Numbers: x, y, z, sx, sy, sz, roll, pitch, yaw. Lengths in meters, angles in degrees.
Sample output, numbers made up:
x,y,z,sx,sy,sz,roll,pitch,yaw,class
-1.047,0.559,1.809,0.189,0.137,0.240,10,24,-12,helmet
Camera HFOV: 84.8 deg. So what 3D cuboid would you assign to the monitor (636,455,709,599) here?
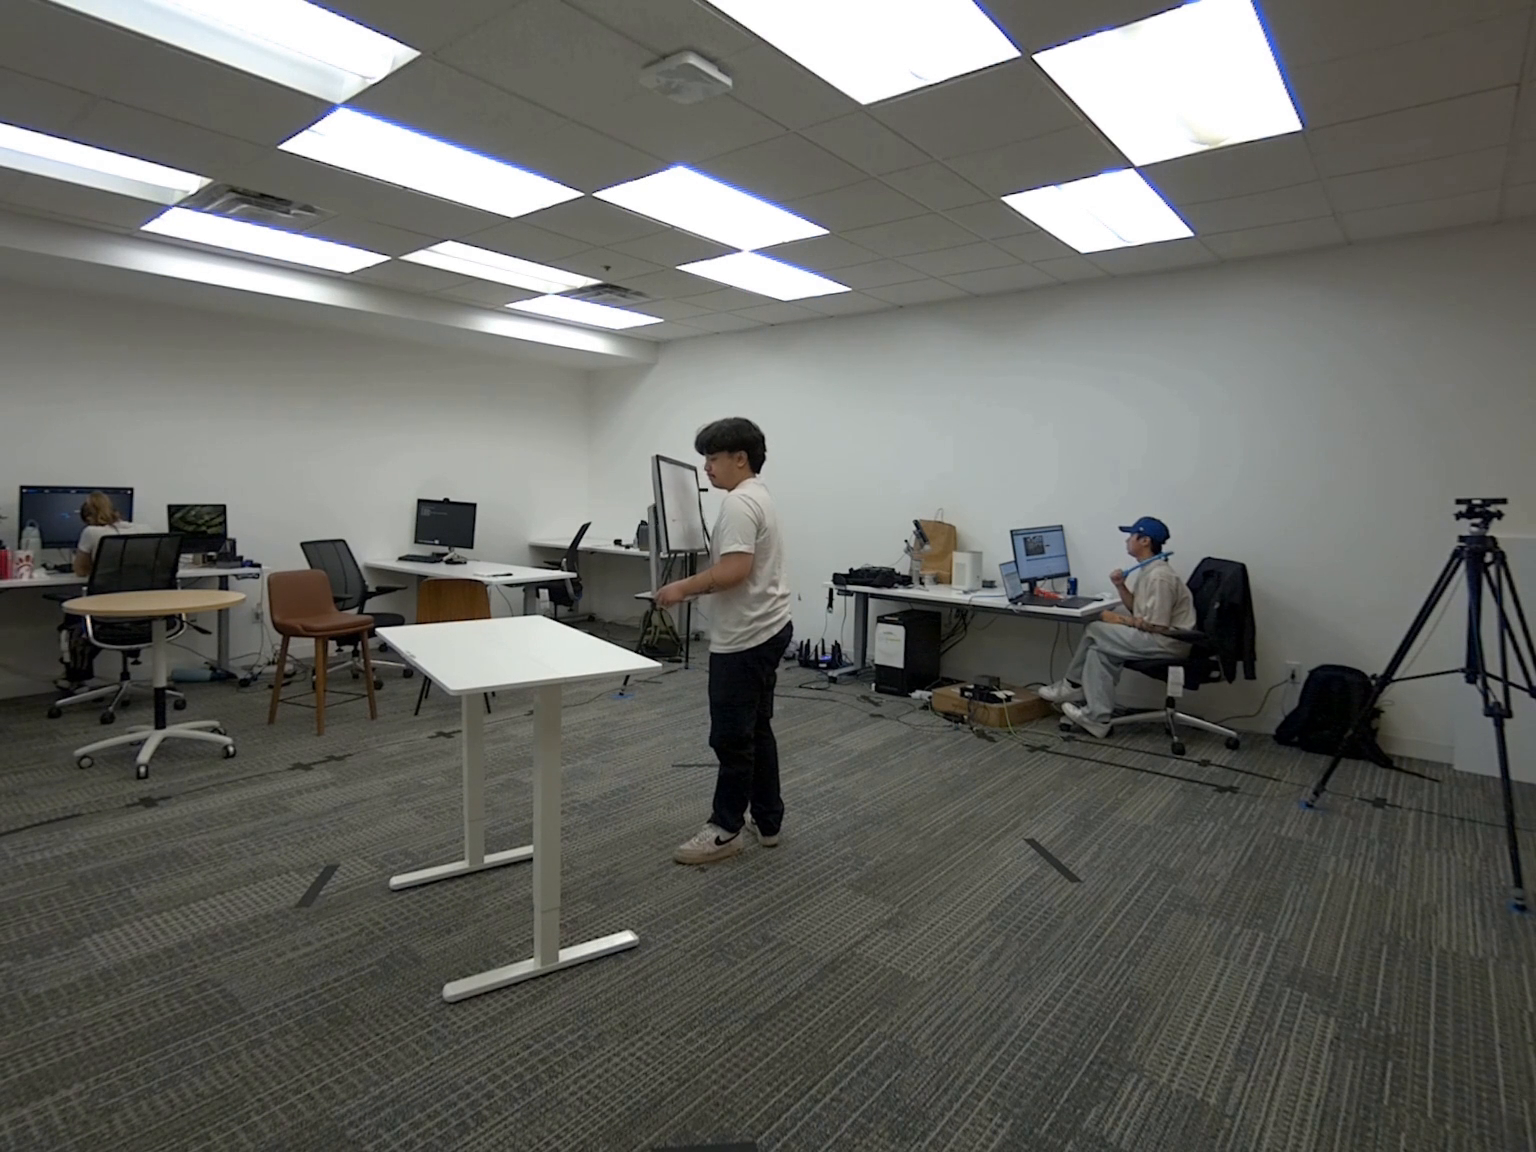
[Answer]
x,y,z,sx,sy,sz,roll,pitch,yaw,class
-0.417,-0.183,3.344,0.212,0.554,0.559,-2,0,10,monitor
